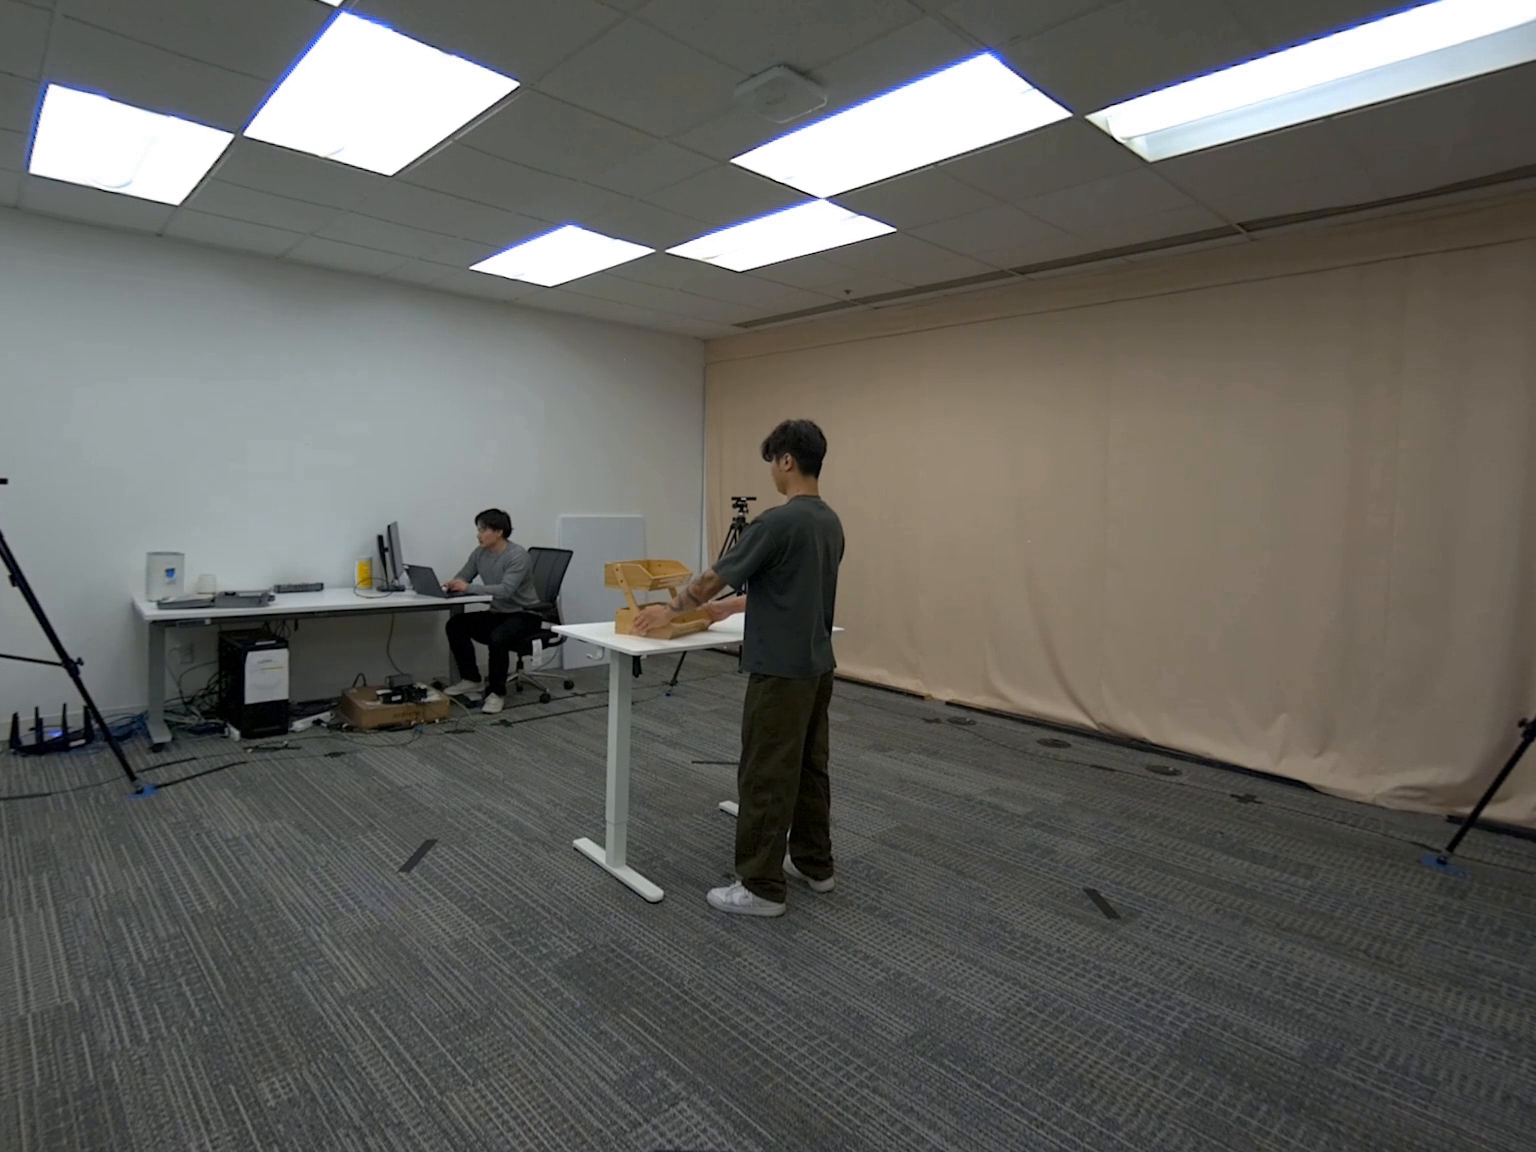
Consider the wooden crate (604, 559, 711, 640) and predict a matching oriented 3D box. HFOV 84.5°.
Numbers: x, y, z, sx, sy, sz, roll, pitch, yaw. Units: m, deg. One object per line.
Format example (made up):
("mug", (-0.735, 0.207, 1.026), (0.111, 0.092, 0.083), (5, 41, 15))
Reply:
("wooden crate", (-0.412, 0.078, 3.185), (0.308, 0.272, 0.319), (4, 5, 25))
